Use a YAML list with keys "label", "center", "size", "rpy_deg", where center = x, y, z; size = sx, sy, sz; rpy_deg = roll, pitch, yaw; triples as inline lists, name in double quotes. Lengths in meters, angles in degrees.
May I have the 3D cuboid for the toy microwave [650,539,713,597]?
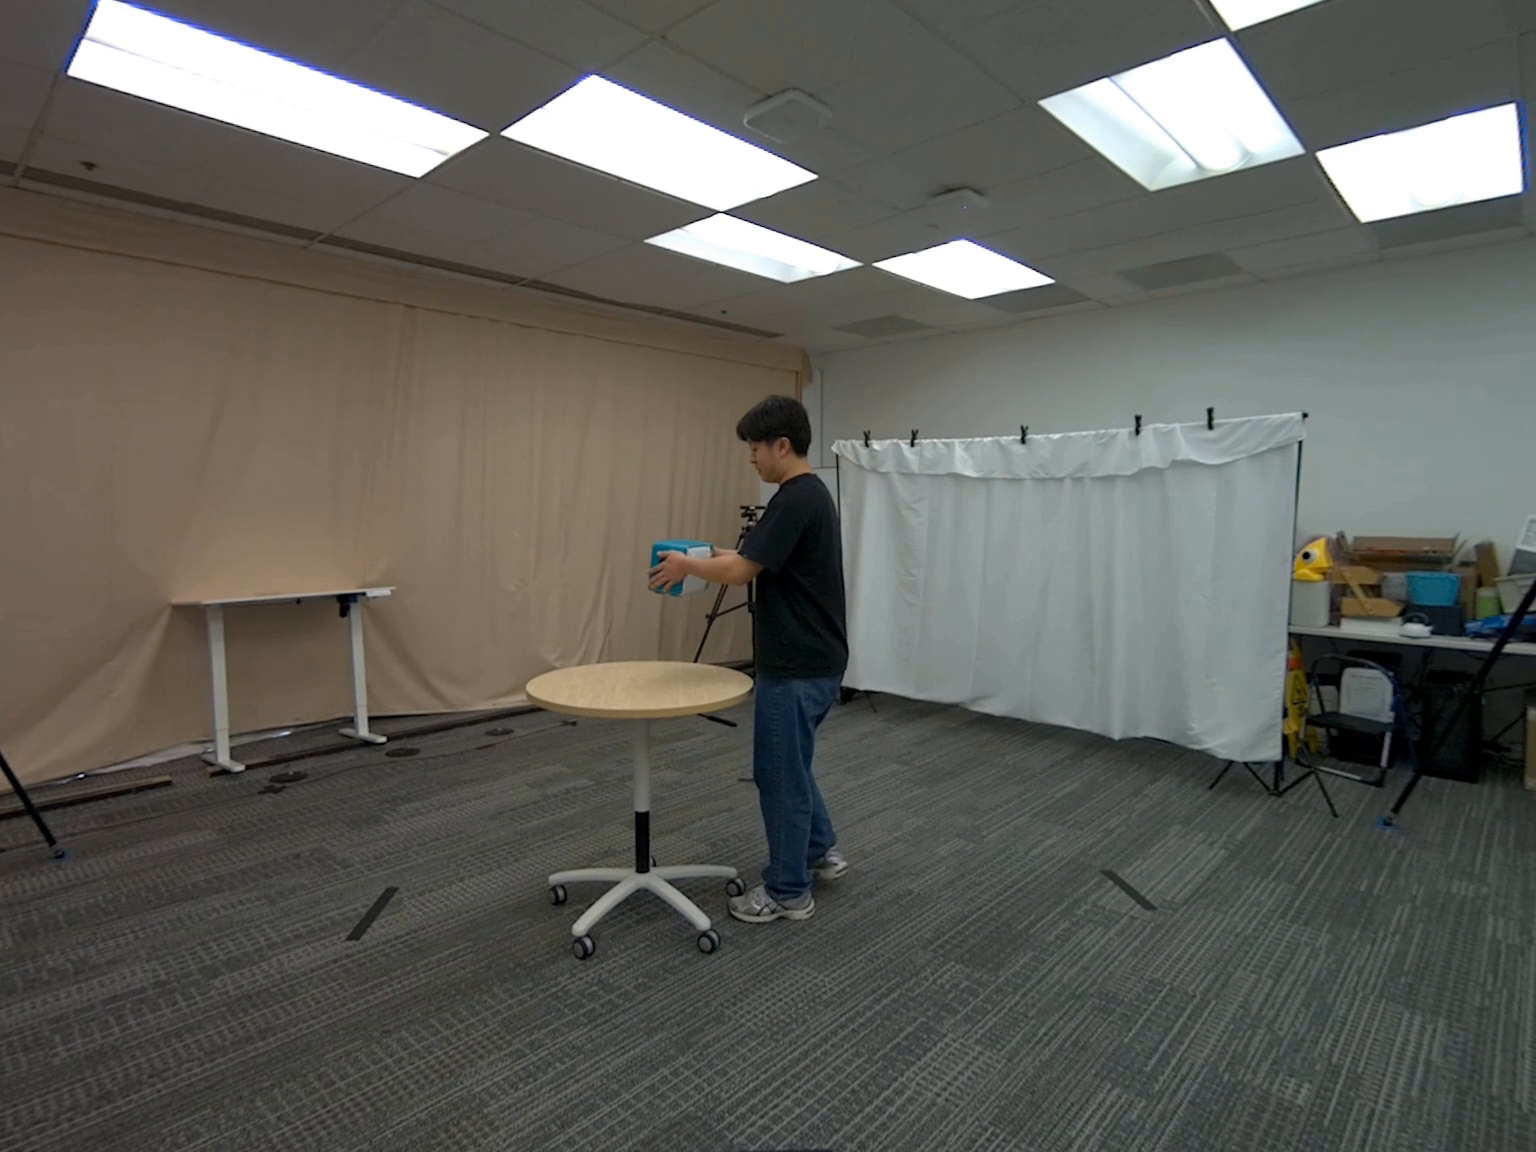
- label: "toy microwave"
  center: [-0.300, -0.031, 3.028]
  size: [0.155, 0.183, 0.281]
  rpy_deg: [6, 6, 18]
